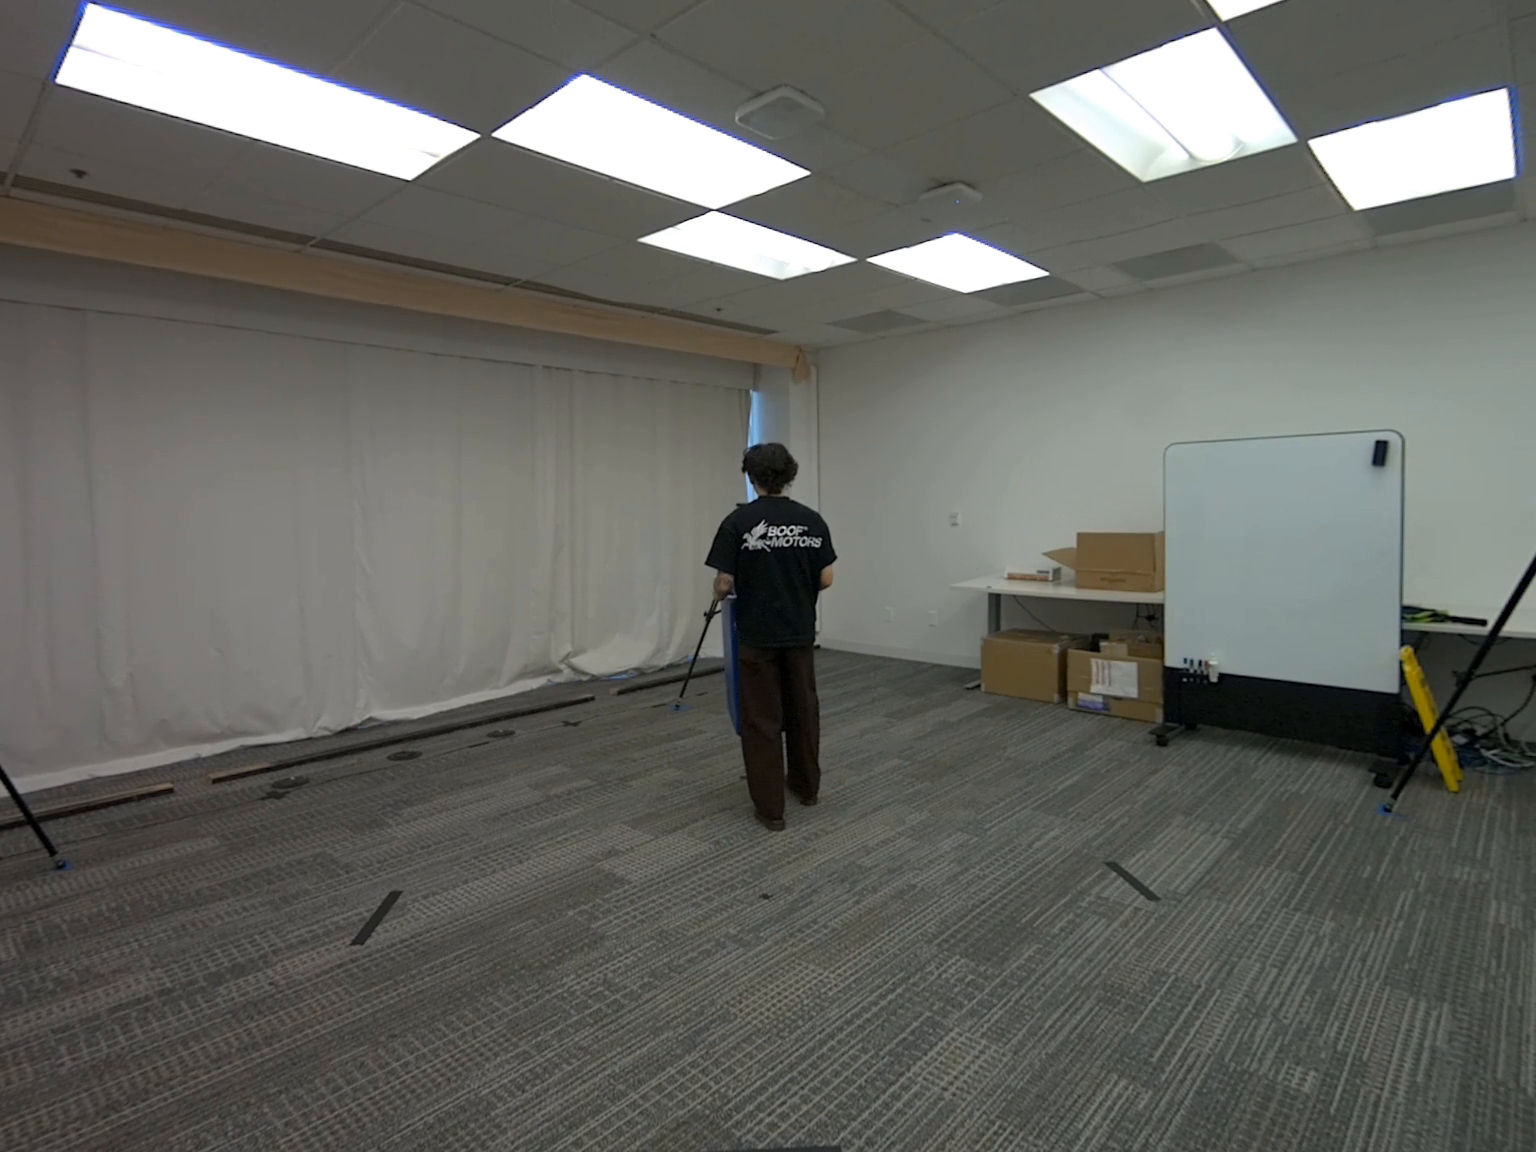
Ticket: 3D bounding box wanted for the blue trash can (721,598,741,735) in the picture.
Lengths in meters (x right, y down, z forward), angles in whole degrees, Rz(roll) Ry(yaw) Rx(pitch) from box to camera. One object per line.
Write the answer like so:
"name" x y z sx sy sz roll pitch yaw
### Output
"blue trash can" -0.034 0.377 4.087 0.371 0.706 0.385 -4 15 -8
